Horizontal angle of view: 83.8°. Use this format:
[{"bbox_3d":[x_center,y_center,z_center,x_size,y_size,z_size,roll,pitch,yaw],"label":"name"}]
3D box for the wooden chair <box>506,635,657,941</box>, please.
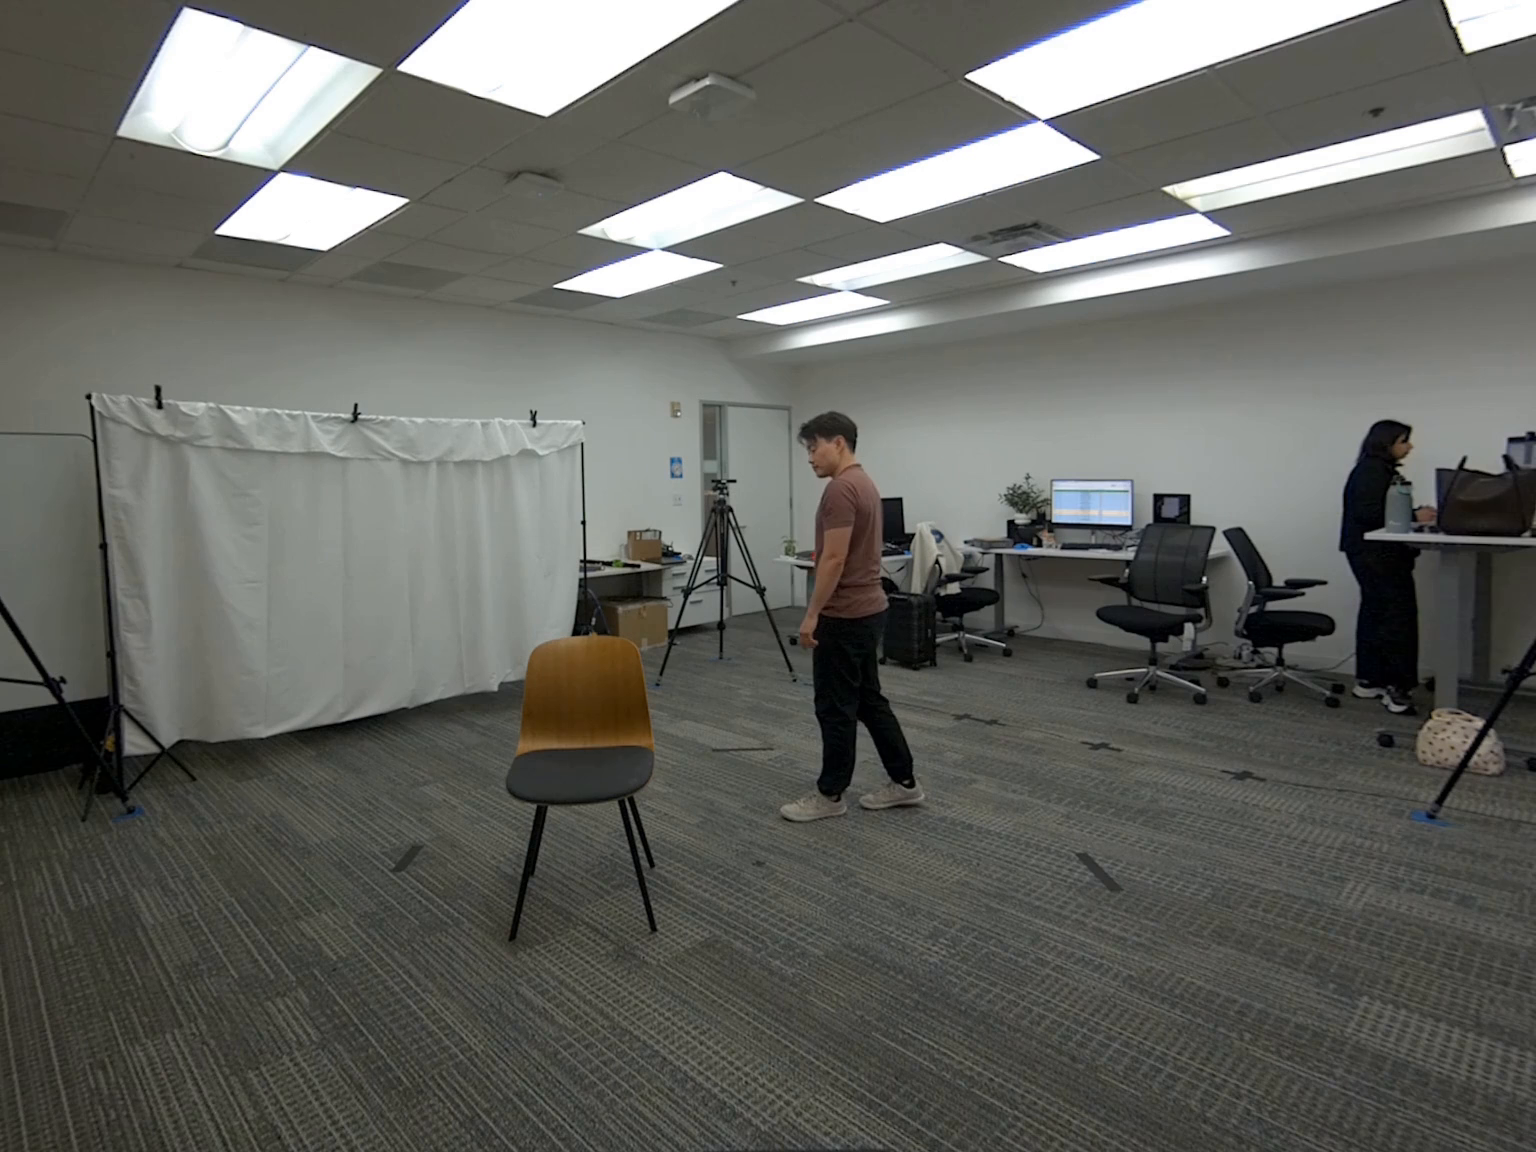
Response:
[{"bbox_3d":[-0.599,0.662,2.812,0.475,0.877,0.527,-1,0,-8],"label":"wooden chair"}]
